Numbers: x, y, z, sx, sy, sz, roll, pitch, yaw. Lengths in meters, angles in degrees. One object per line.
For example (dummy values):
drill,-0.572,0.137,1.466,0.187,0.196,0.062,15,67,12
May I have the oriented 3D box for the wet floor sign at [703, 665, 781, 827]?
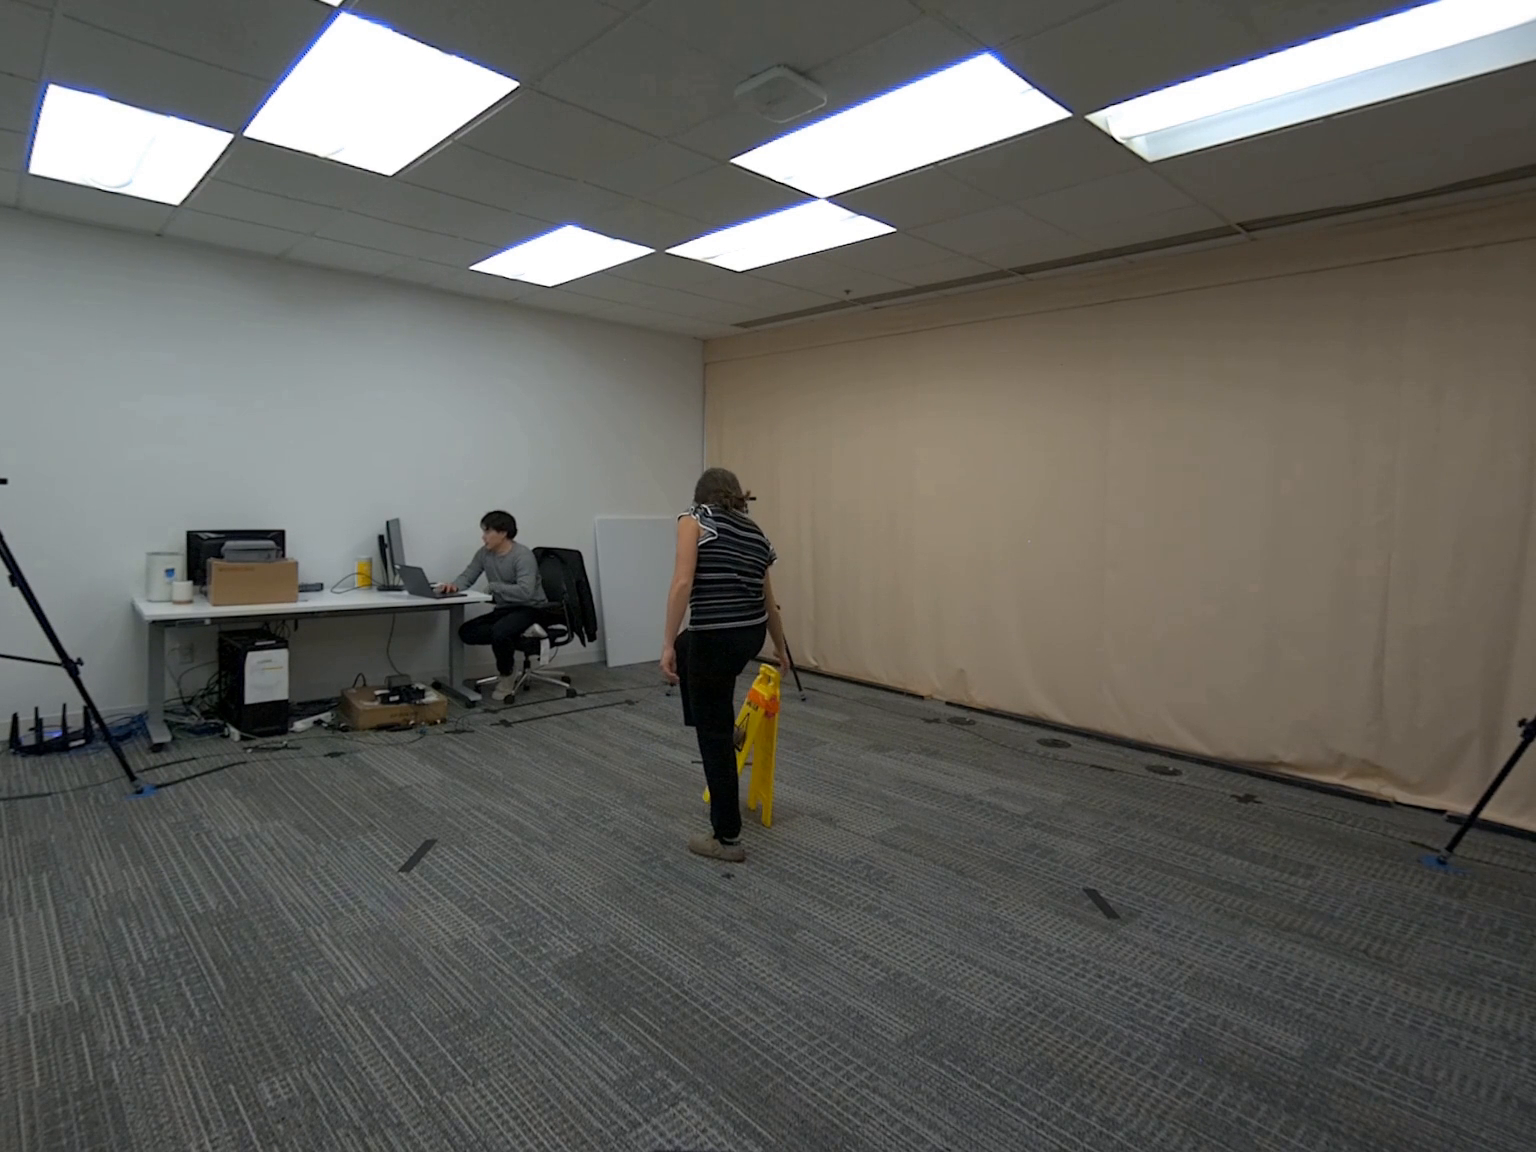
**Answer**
wet floor sign,-0.074,0.718,3.677,0.285,0.646,0.287,14,-1,-18
